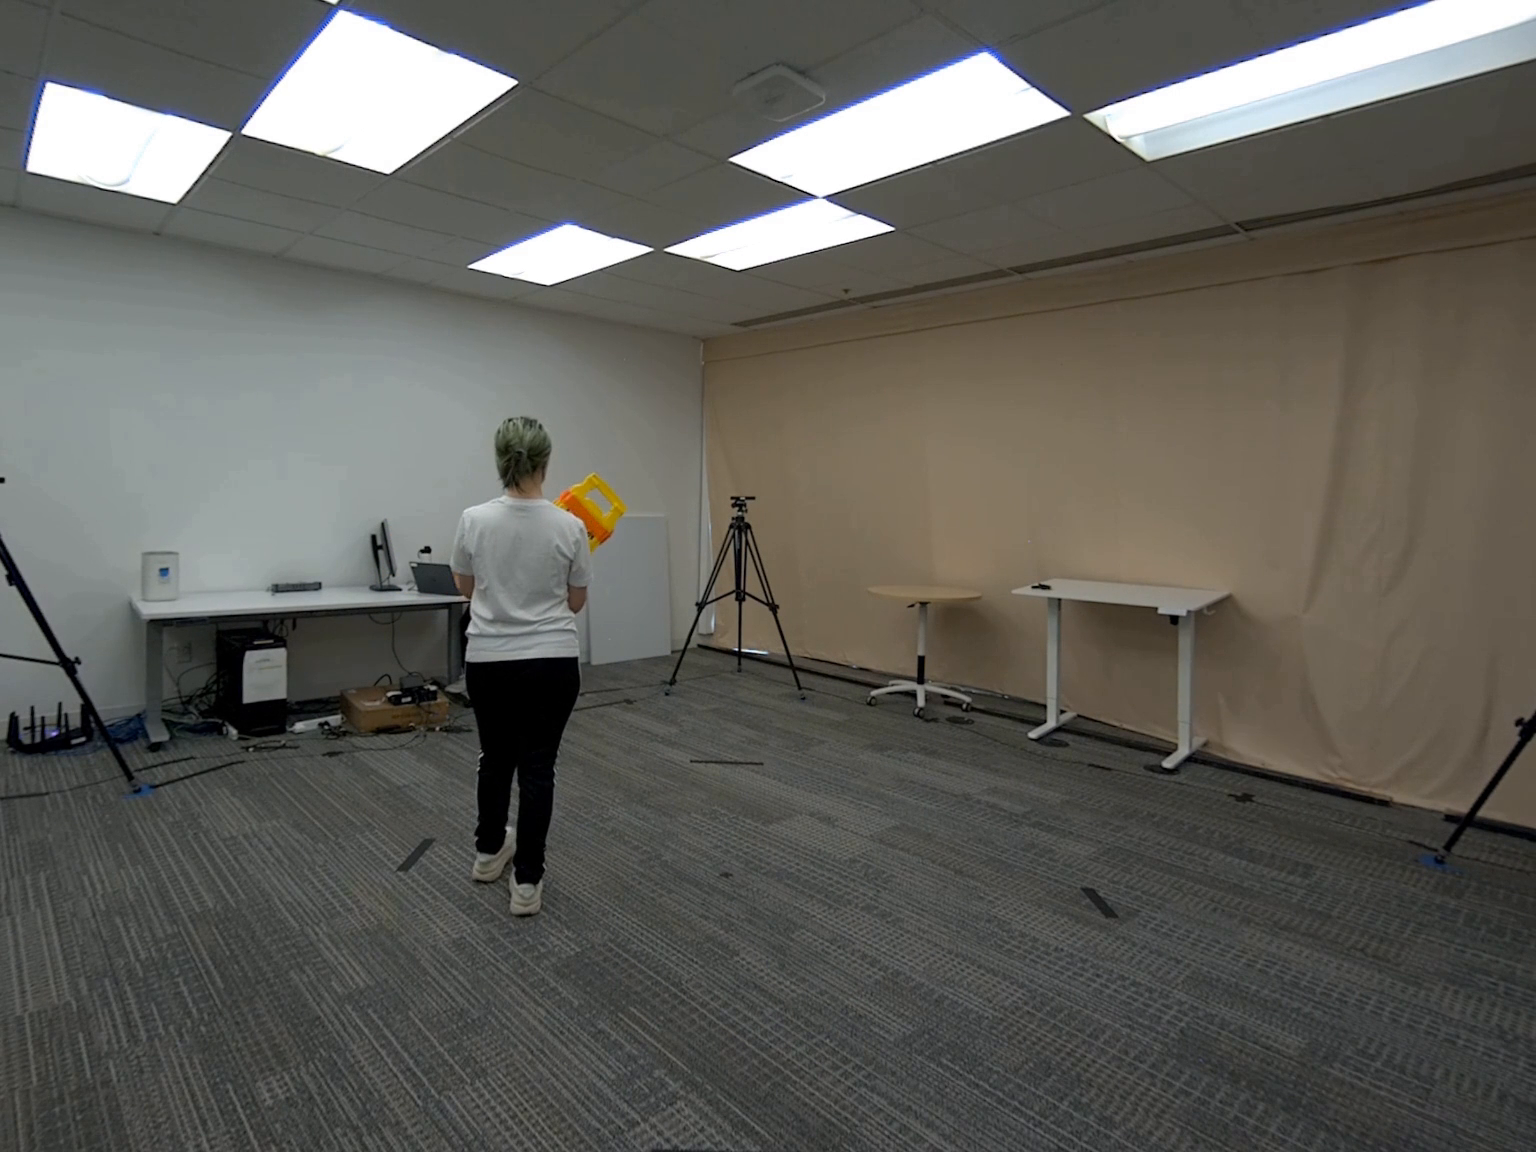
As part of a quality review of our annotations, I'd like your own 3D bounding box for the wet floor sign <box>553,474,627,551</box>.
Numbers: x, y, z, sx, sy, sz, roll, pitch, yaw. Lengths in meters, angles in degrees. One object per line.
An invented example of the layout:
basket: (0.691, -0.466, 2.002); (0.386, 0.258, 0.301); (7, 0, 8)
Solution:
wet floor sign: (-0.851, -0.108, 3.228); (0.276, 0.646, 0.296); (48, -9, -23)
